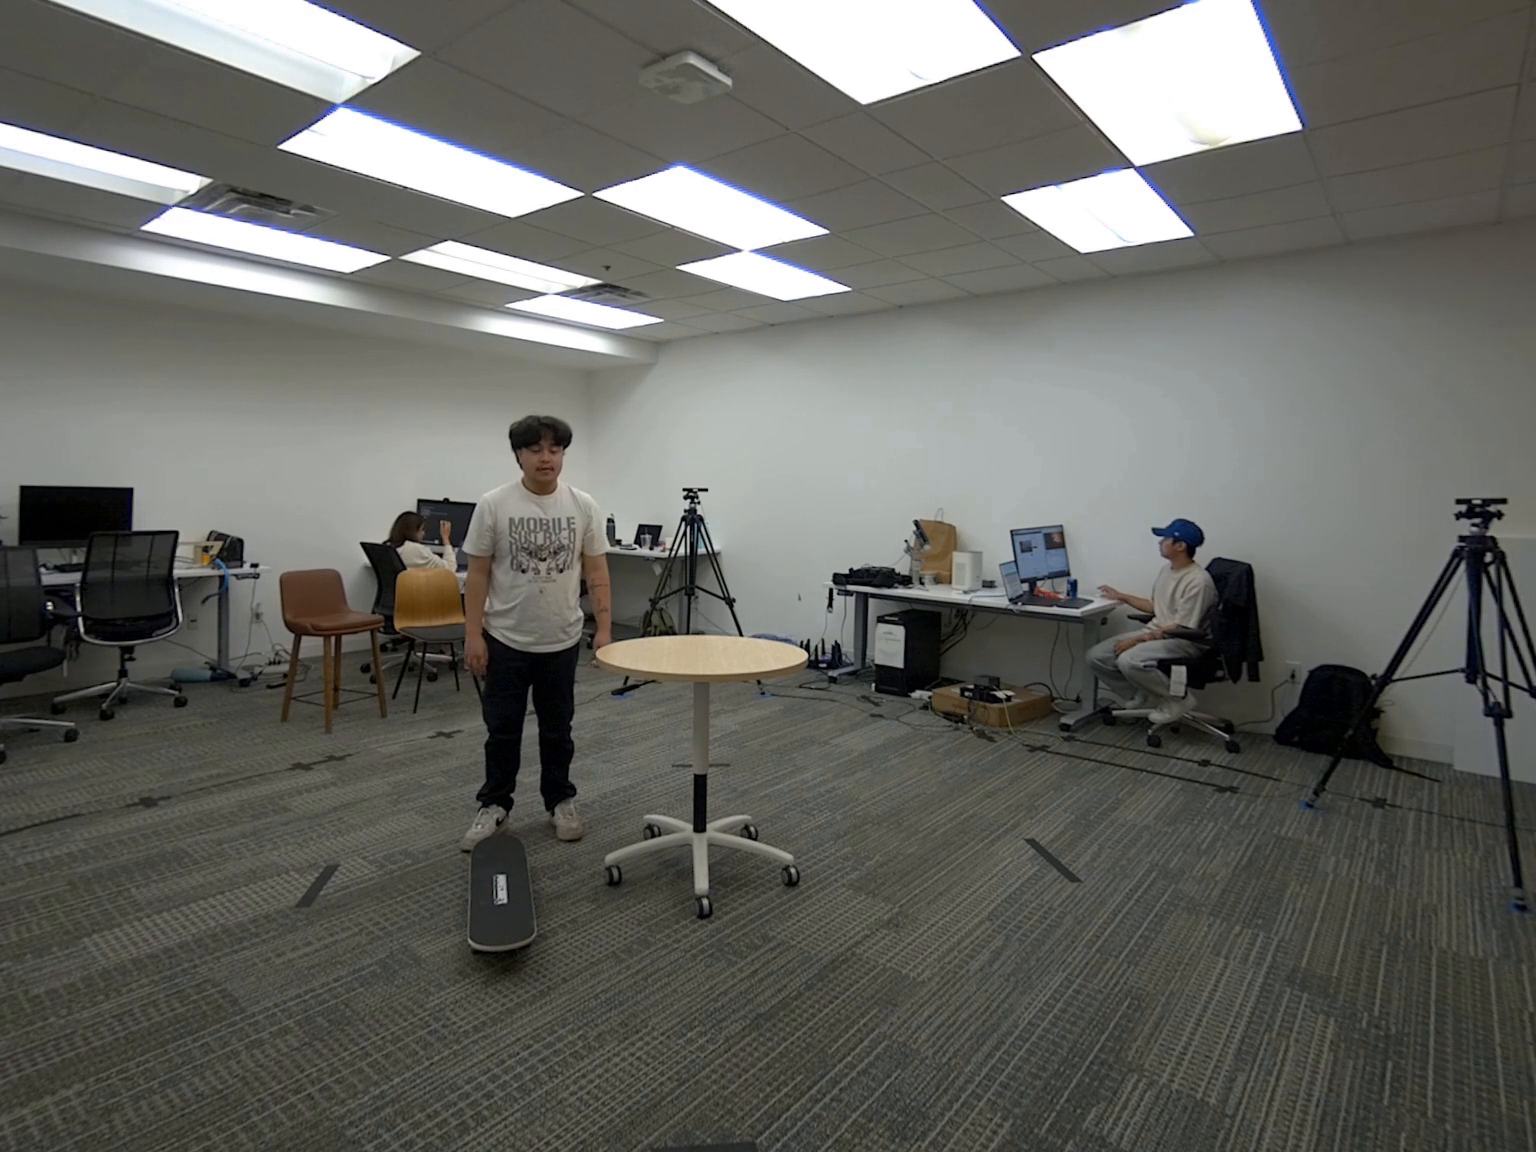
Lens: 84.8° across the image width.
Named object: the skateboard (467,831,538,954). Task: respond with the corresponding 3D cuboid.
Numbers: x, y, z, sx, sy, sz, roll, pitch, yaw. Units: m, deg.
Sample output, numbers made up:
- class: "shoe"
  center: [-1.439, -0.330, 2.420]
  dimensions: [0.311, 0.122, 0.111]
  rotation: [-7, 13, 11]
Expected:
- class: "skateboard"
  center: [-0.869, 1.036, 2.745]
  dimensions: [0.190, 0.110, 0.802]
  rotation: [-1, 6, -18]
